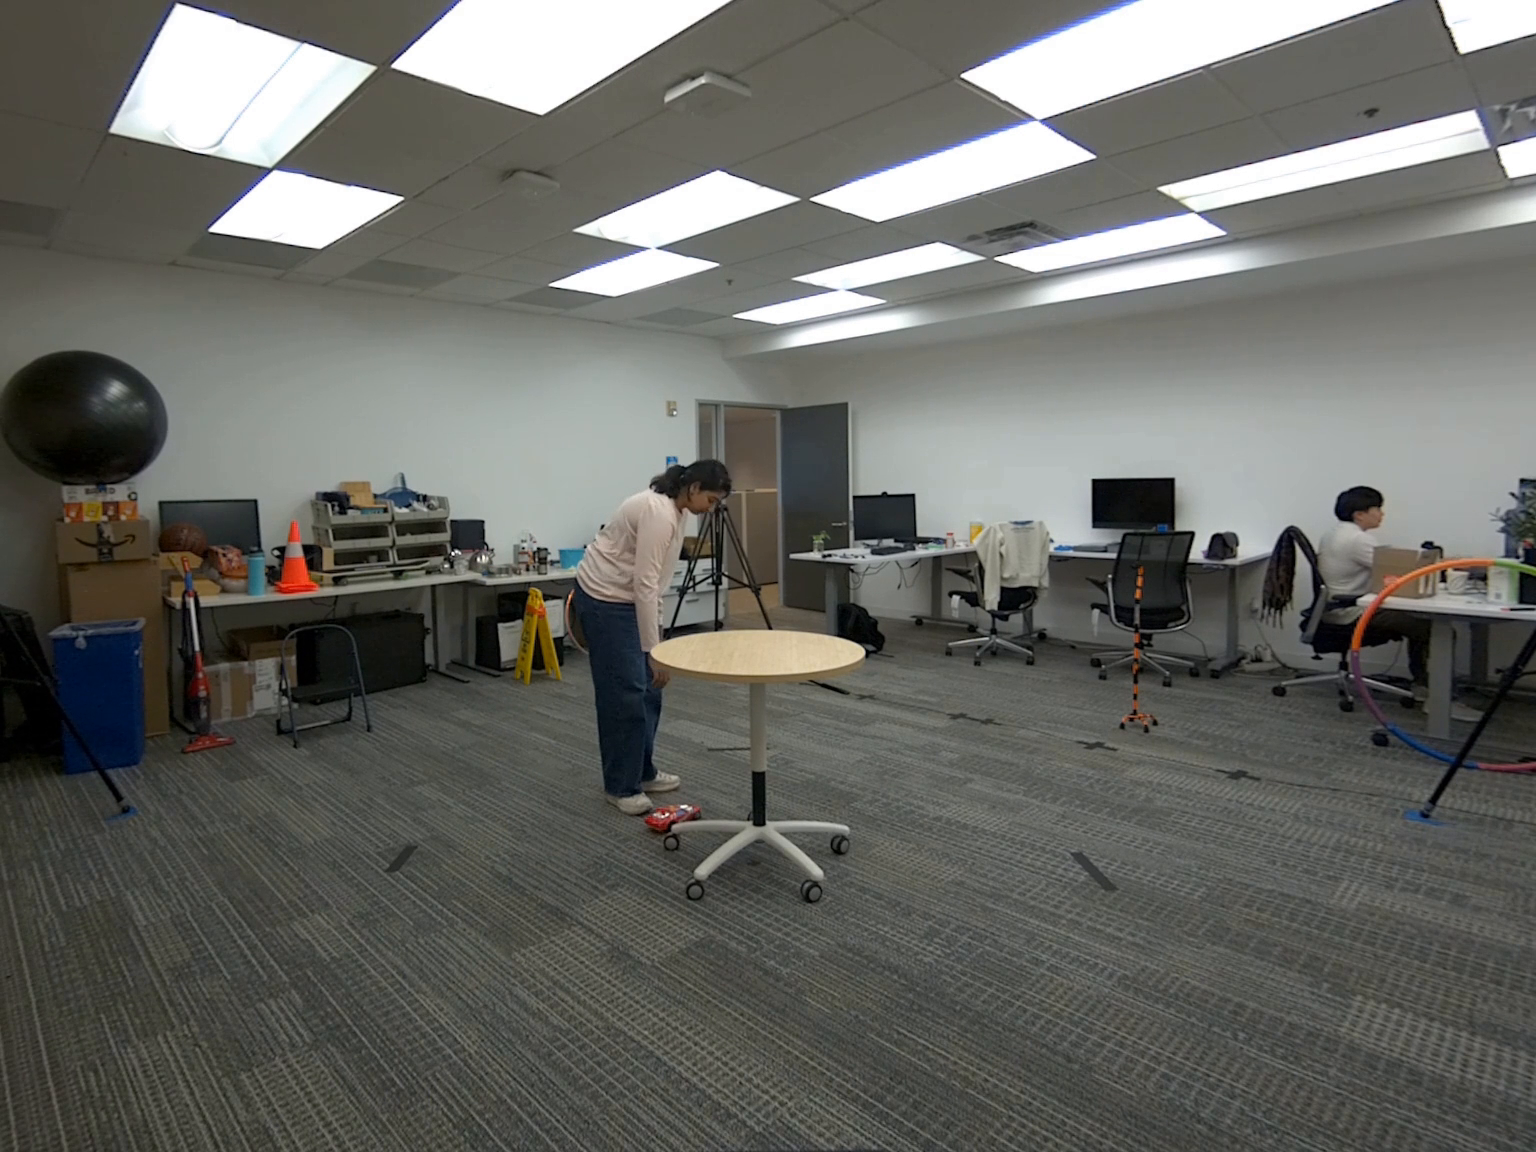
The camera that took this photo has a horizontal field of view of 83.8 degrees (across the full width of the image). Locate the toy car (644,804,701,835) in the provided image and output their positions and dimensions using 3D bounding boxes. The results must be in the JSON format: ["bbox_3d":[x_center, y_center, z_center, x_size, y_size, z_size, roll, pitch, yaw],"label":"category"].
[{"bbox_3d":[-0.393,0.977,3.457,0.134,0.083,0.246,3,-3,42],"label":"toy car"}]
